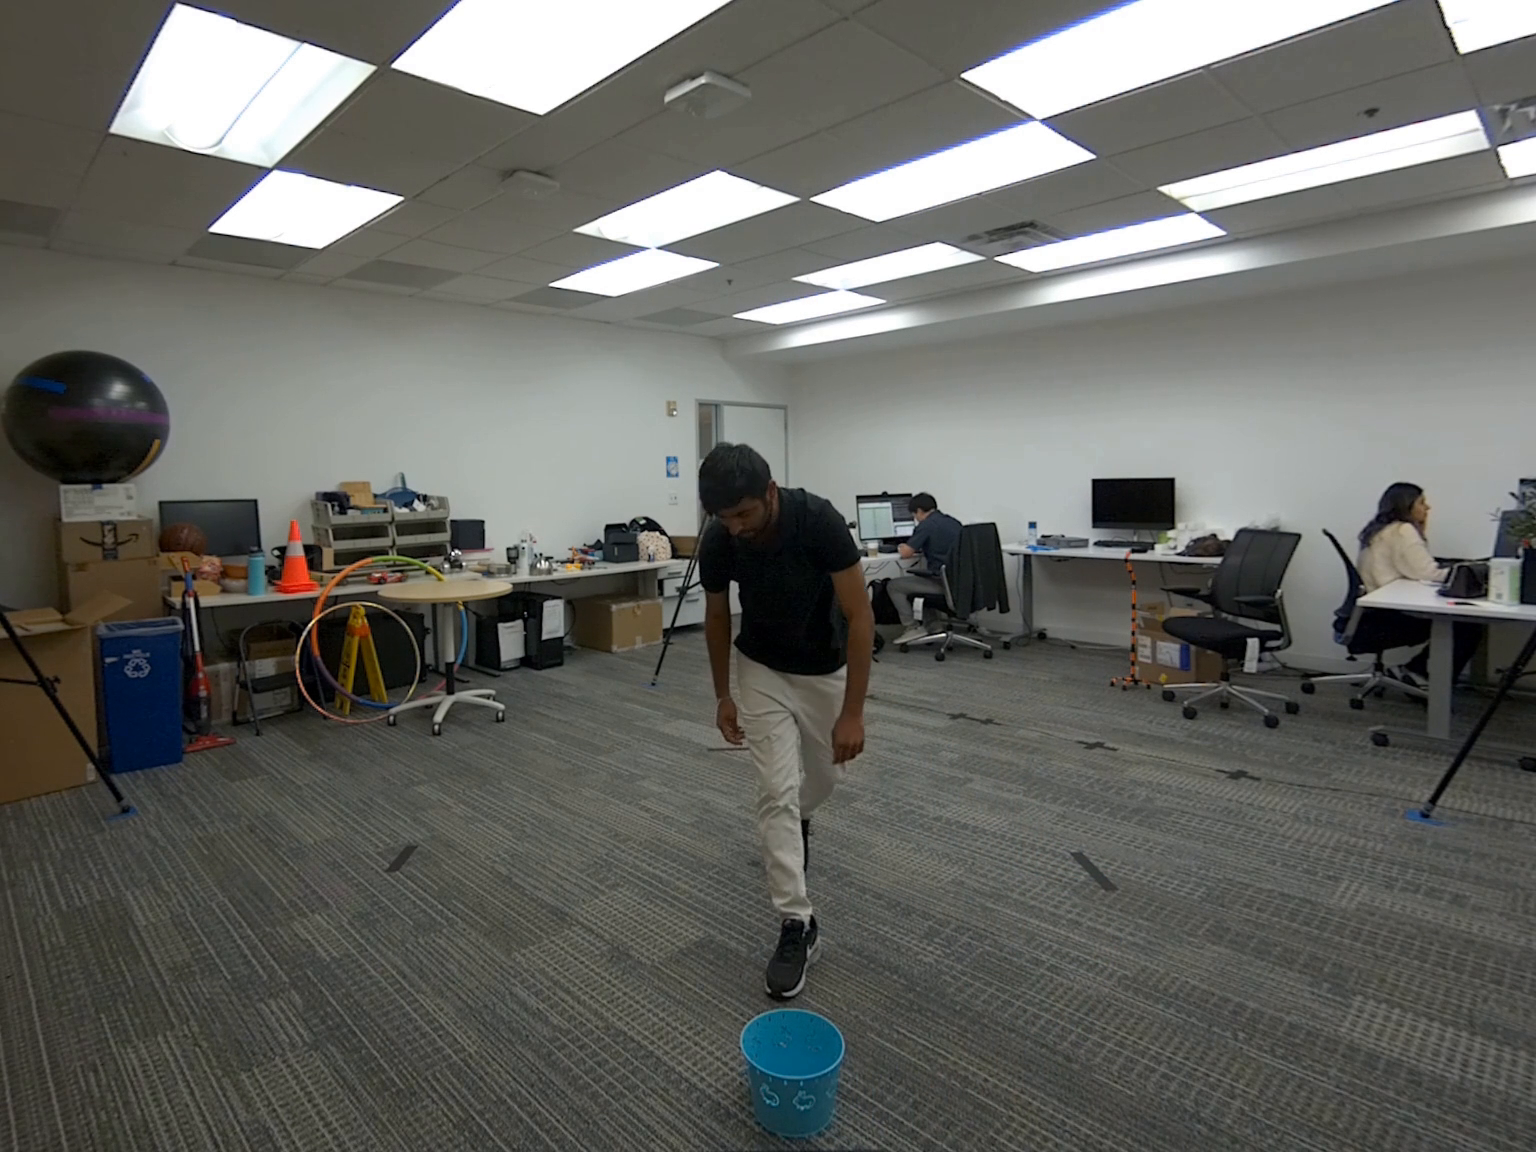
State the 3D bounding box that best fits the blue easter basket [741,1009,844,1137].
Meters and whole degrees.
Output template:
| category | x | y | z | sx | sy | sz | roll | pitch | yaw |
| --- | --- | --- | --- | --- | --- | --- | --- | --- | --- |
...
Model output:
| category | x | y | z | sx | sy | sz | roll | pitch | yaw |
| --- | --- | --- | --- | --- | --- | --- | --- | --- | --- |
| blue easter basket | 0.063 | 1.106 | 1.906 | 0.243 | 0.155 | 0.245 | -1 | 5 | -2 |
